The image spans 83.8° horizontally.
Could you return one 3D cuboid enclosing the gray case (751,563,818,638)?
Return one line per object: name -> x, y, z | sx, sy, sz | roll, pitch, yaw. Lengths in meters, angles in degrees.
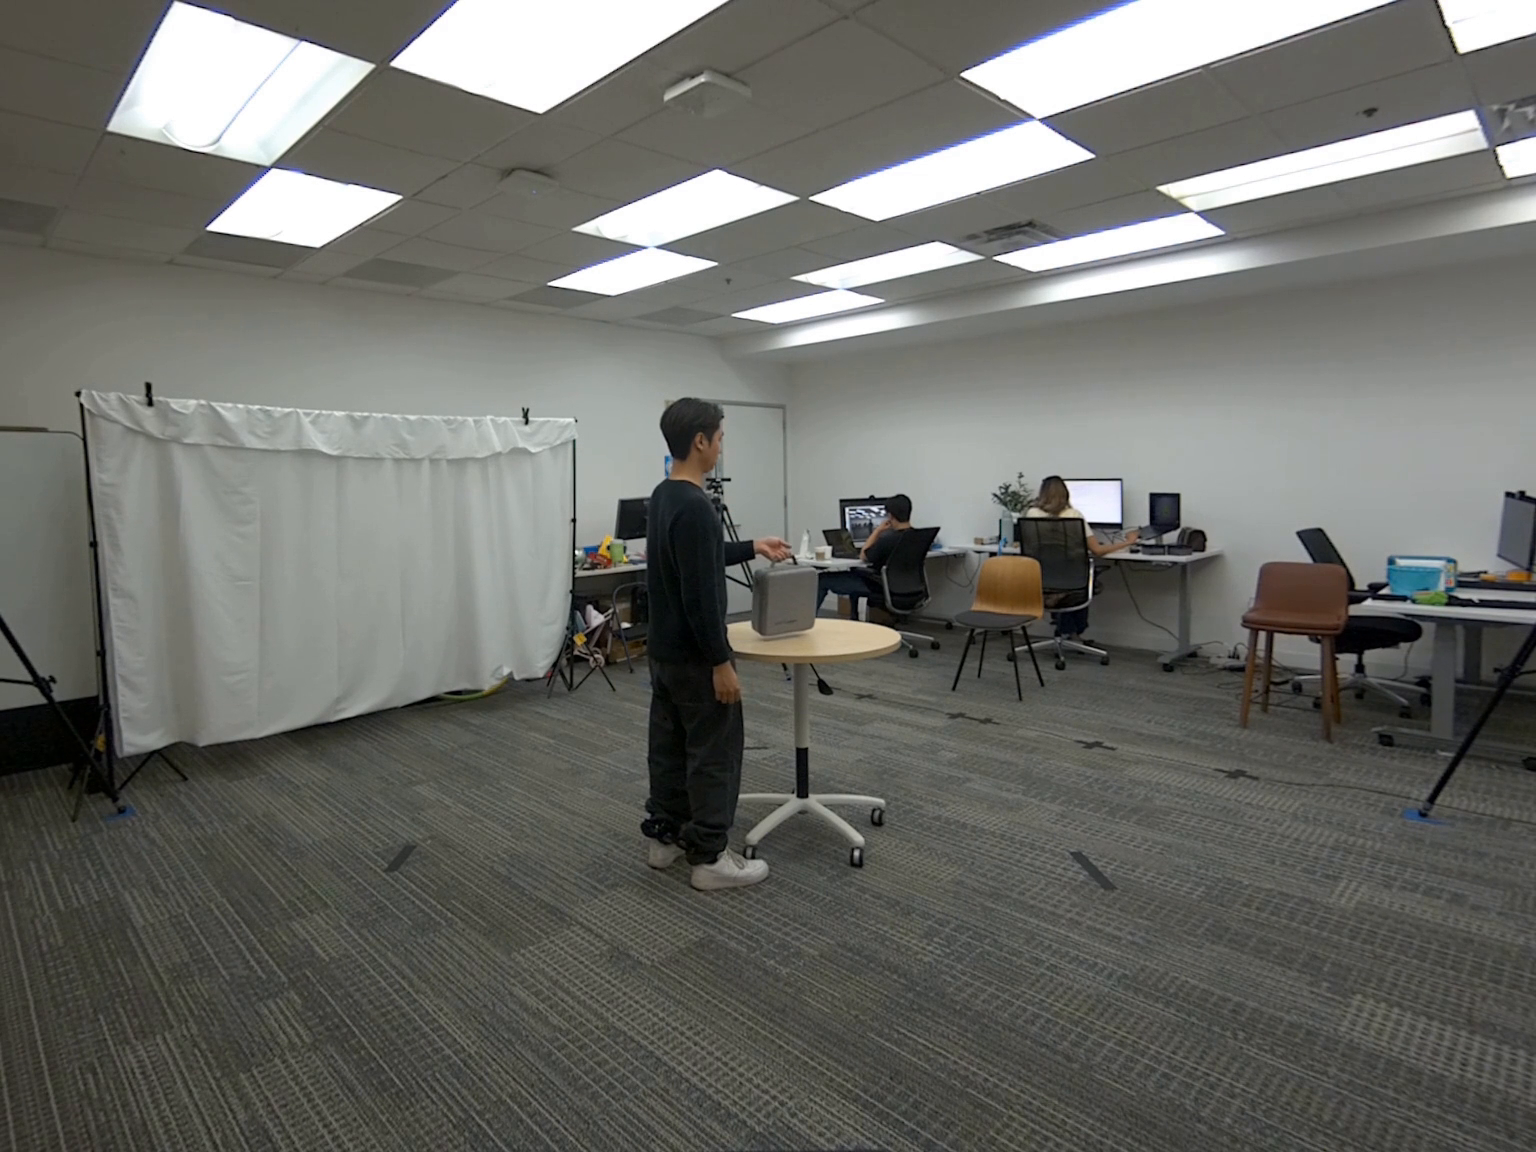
gray case -> 0.063, 0.084, 3.270 | 0.251, 0.258, 0.108 | -5, 12, -33
